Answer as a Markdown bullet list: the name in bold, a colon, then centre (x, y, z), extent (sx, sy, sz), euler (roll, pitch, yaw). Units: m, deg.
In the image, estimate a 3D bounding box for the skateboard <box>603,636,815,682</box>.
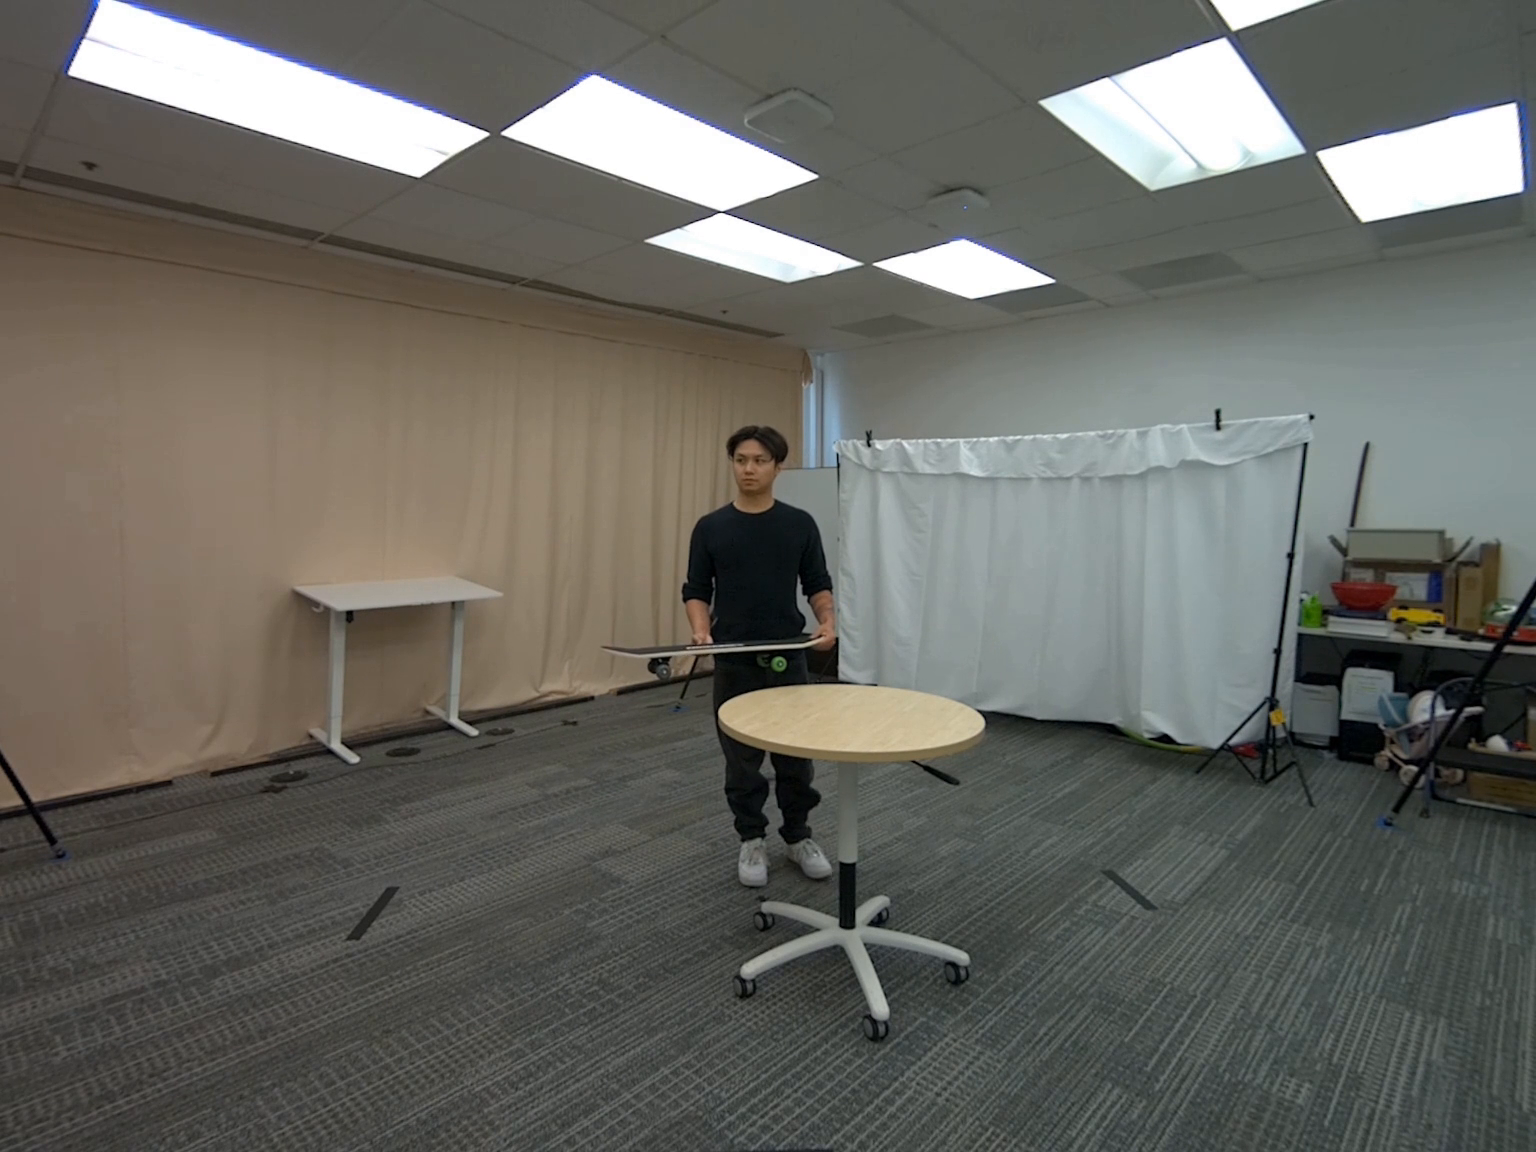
- **skateboard**: centre (-0.168, 0.276, 2.876), extent (0.774, 0.110, 0.196), euler (-2, 2, -13)
